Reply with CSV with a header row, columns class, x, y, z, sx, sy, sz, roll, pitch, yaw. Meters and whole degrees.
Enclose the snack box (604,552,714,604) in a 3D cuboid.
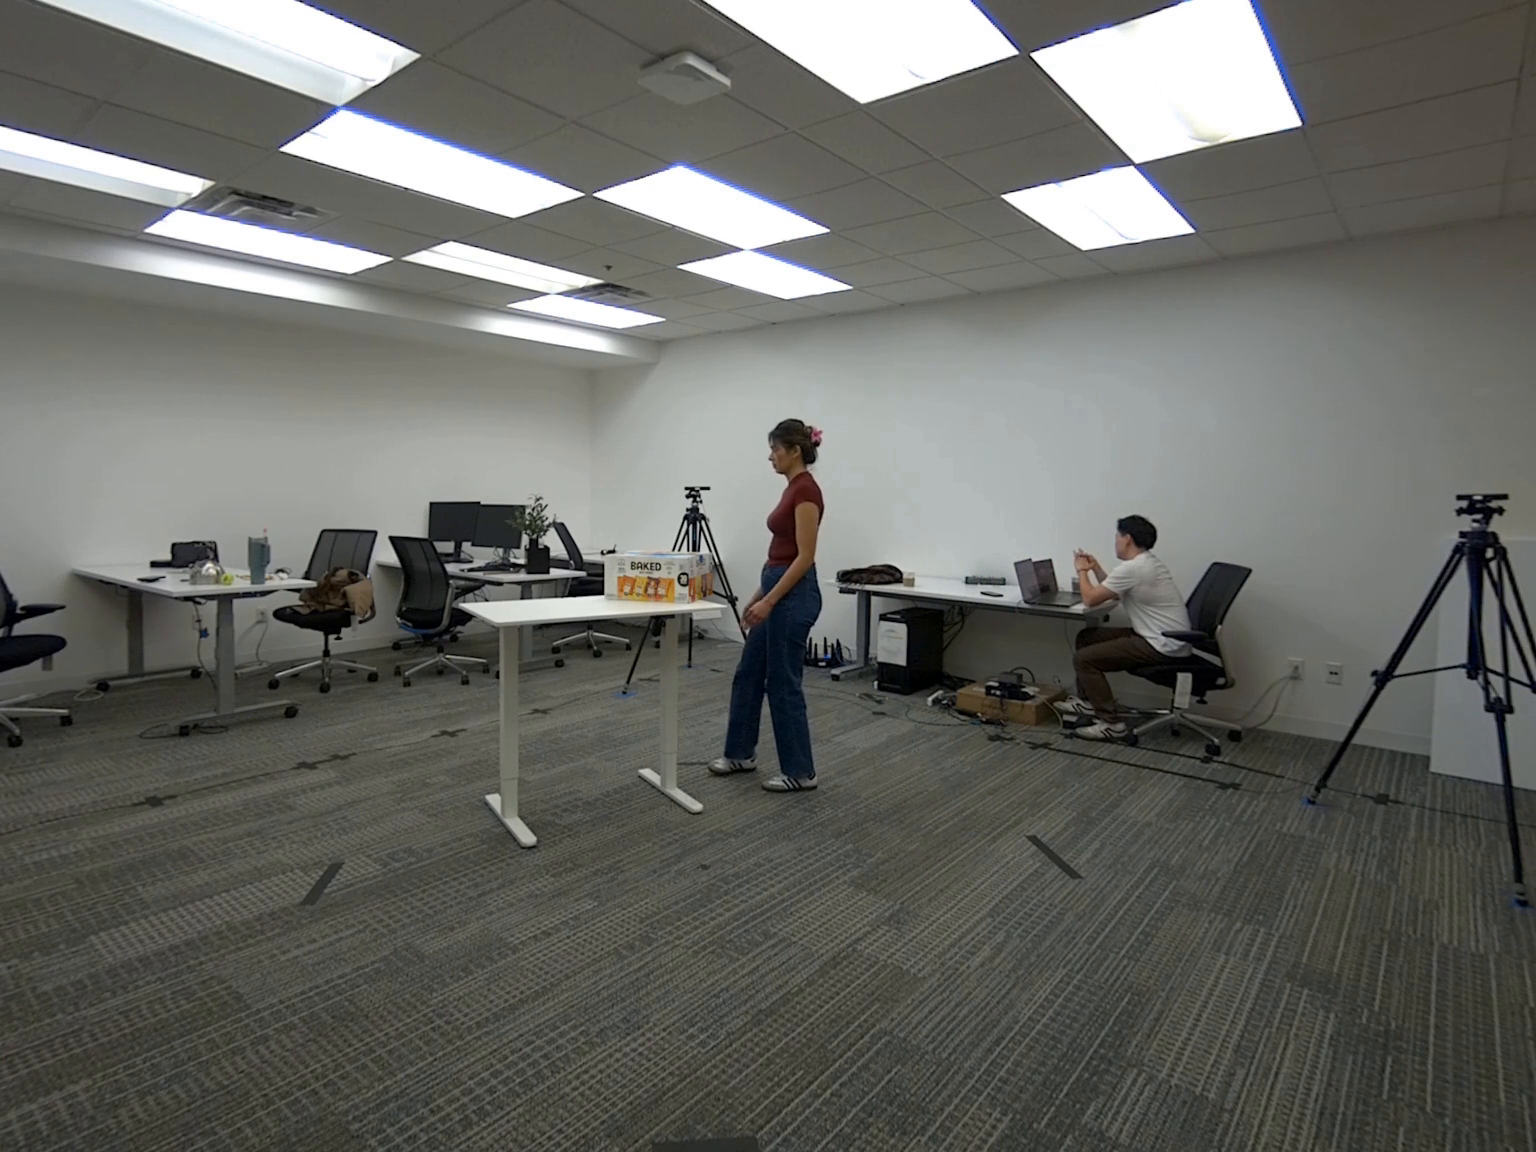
class,x,y,z,sx,sy,sz,roll,pitch,yaw
snack box,-0.518,-0.005,3.960,0.412,0.205,0.335,2,4,15
